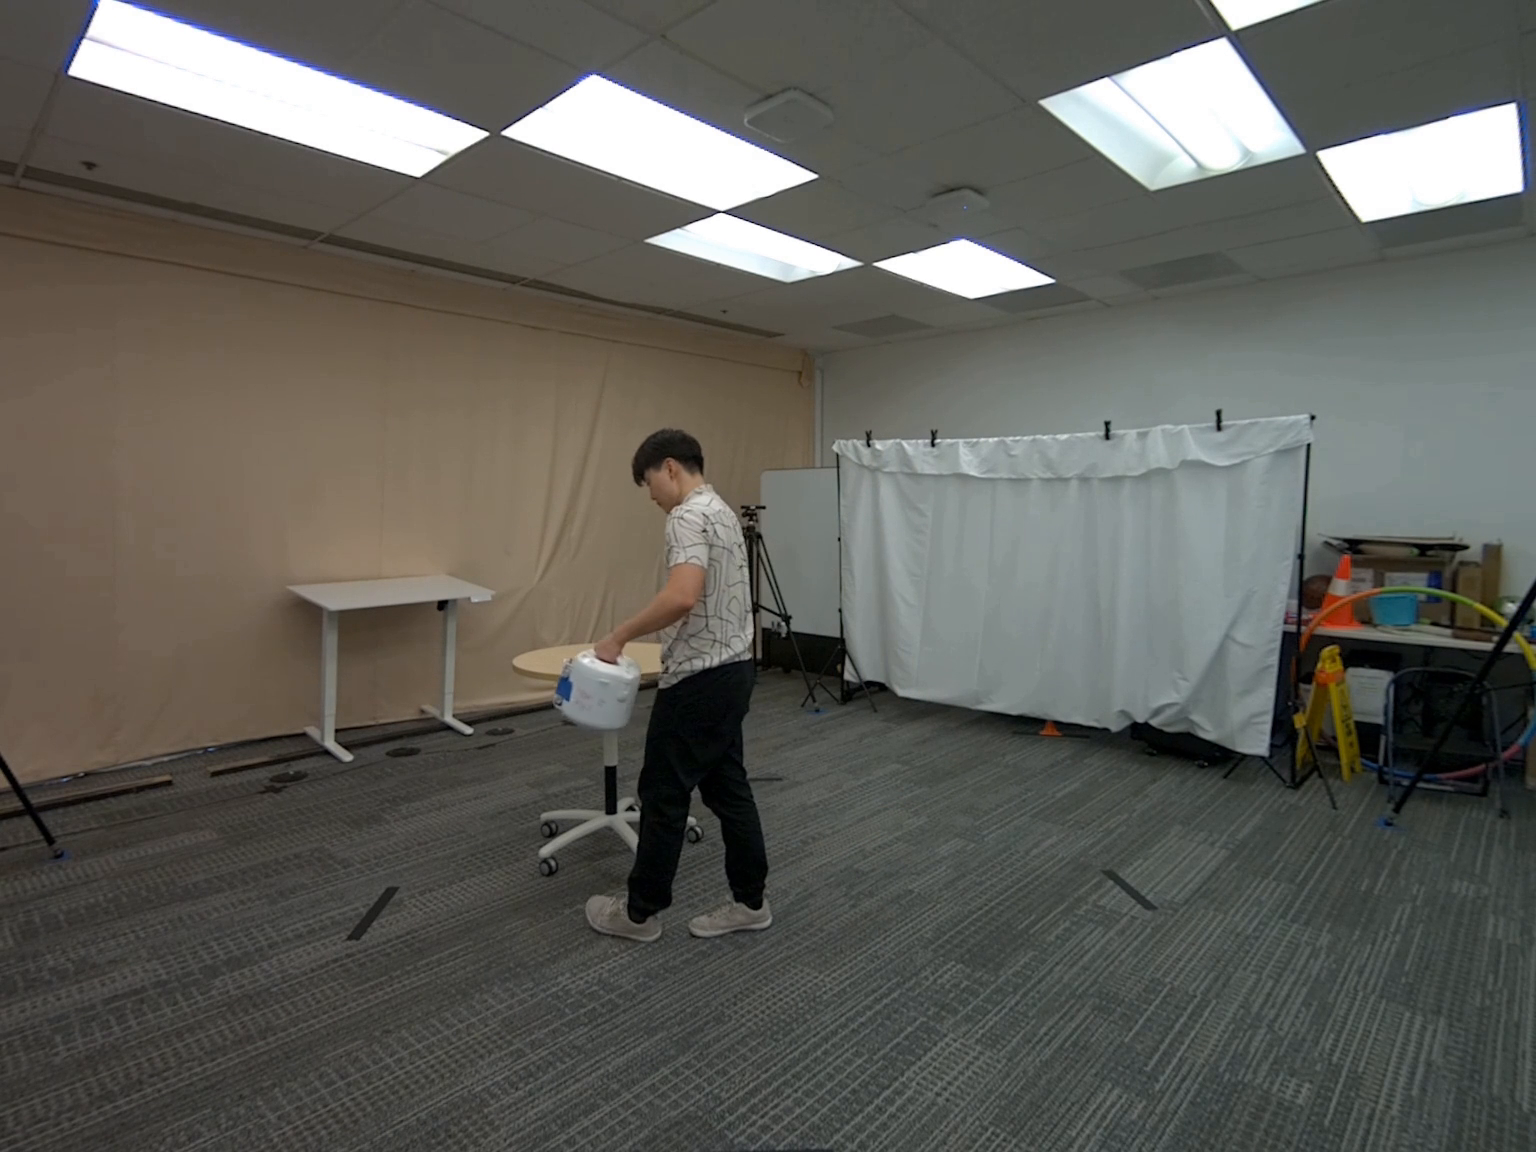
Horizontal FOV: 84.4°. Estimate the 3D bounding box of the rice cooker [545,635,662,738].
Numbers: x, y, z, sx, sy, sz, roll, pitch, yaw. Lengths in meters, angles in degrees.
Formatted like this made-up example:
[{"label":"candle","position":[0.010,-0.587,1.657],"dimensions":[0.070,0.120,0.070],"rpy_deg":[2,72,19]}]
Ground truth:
[{"label":"rice cooker","position":[-0.494,0.331,2.548],"dimensions":[0.210,0.232,0.229],"rpy_deg":[12,6,-44]}]
